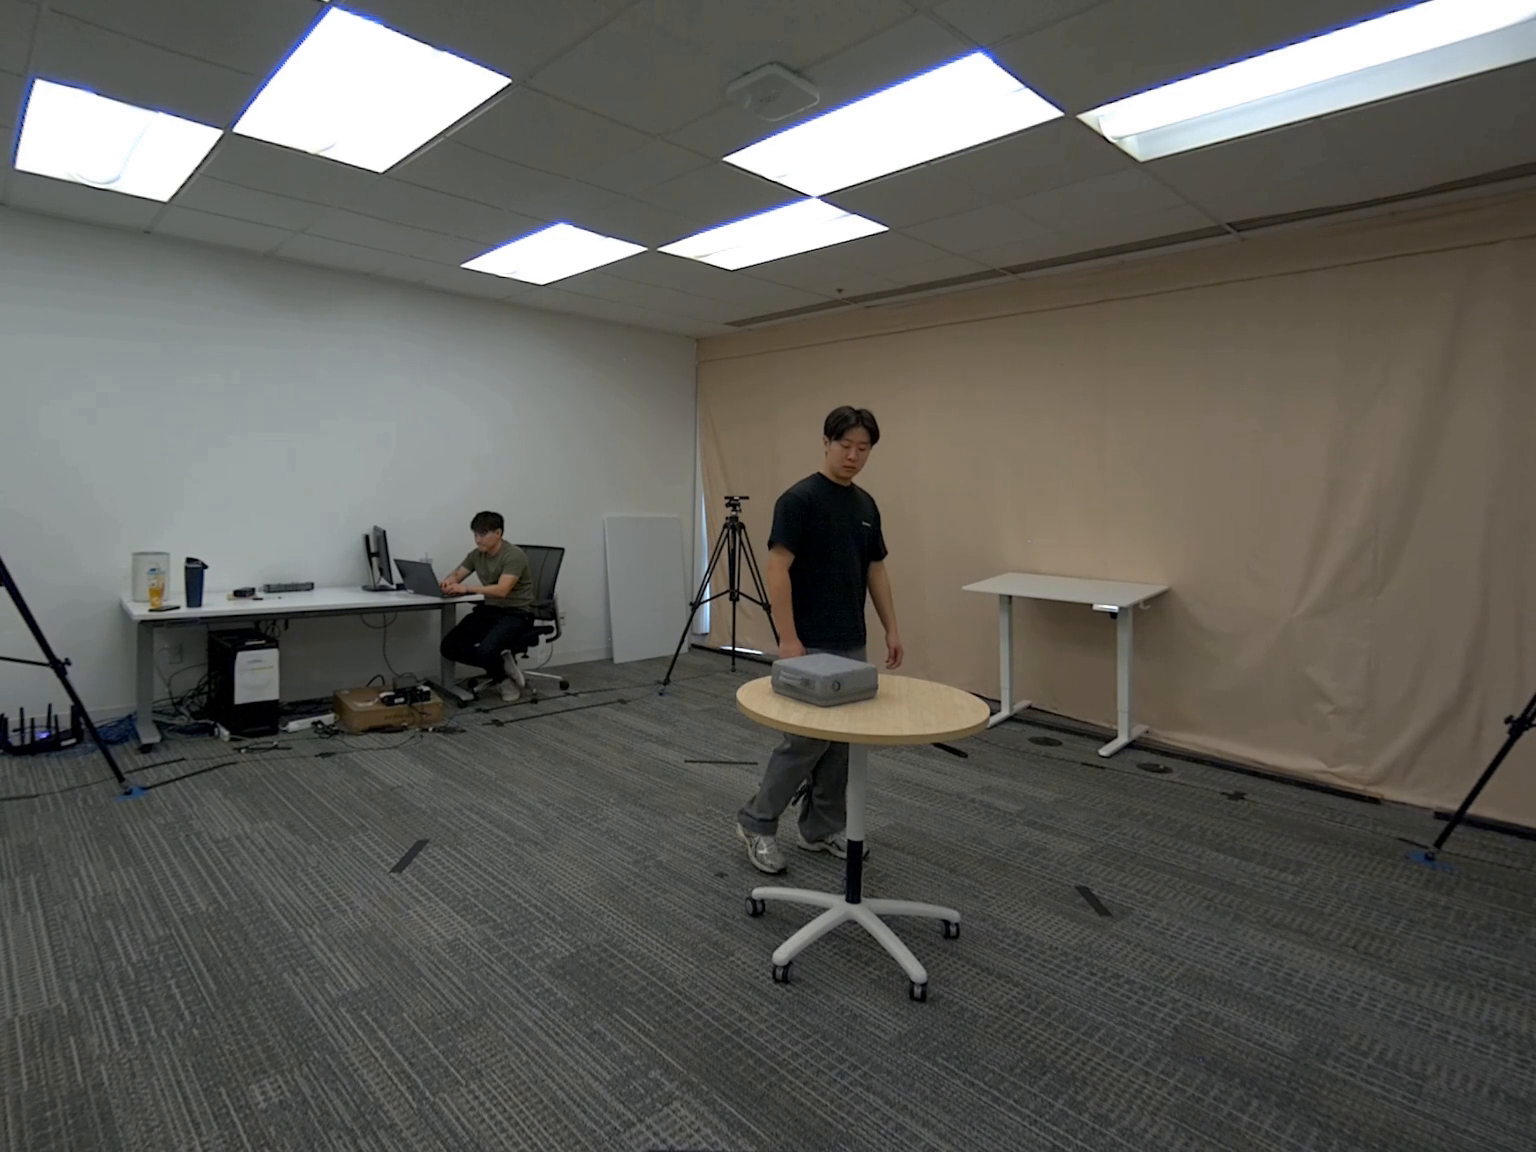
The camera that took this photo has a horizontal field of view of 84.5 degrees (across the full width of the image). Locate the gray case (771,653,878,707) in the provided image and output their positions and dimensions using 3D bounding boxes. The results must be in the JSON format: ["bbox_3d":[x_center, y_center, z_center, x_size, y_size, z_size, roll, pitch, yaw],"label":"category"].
[{"bbox_3d":[0.159,0.321,2.616,0.281,0.102,0.270,-3,8,-40],"label":"gray case"}]
